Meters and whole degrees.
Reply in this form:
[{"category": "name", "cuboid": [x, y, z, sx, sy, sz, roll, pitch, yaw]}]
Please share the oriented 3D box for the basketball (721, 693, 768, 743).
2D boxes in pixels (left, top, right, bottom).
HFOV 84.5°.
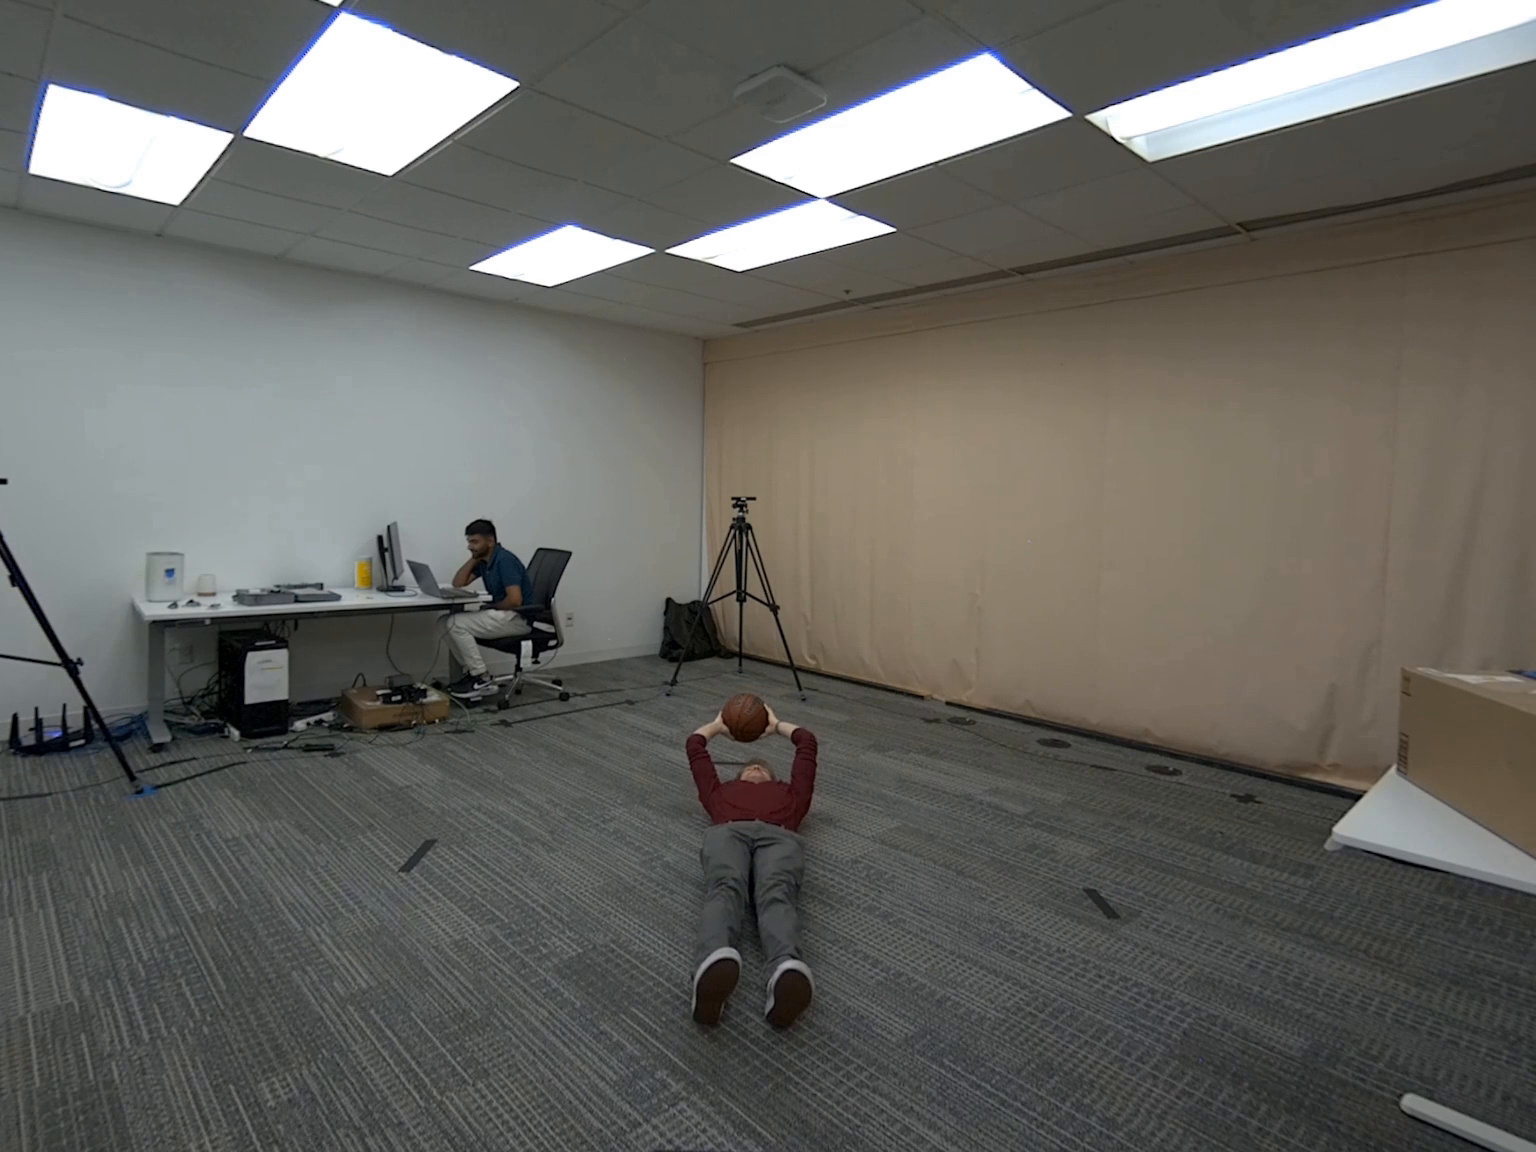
[{"category": "basketball", "cuboid": [-0.124, 0.693, 4.132, 0.236, 0.235, 0.237, 1, 4, -1]}]
